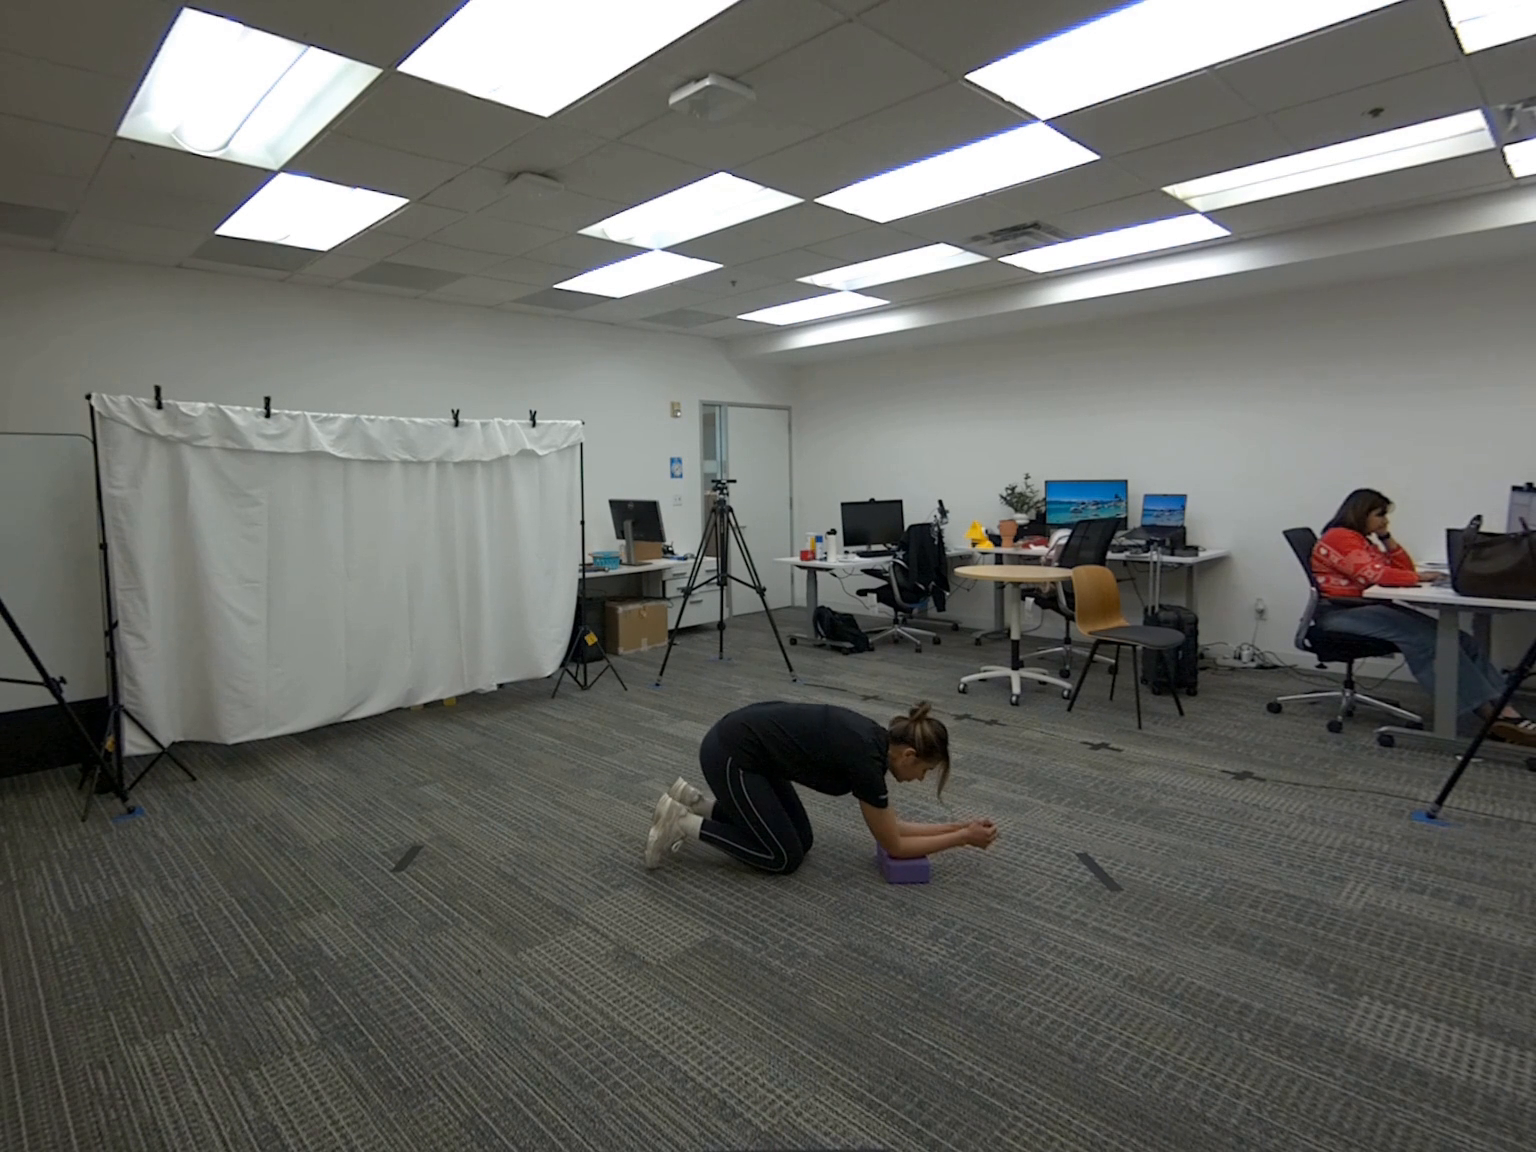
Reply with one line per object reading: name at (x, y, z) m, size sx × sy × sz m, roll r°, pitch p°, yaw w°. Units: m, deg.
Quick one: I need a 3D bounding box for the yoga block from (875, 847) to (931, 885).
yoga block at (0.474, 0.998, 3.036) m, size 0.149 × 0.076 × 0.230 m, roll -1°, pitch 6°, yaw 1°
